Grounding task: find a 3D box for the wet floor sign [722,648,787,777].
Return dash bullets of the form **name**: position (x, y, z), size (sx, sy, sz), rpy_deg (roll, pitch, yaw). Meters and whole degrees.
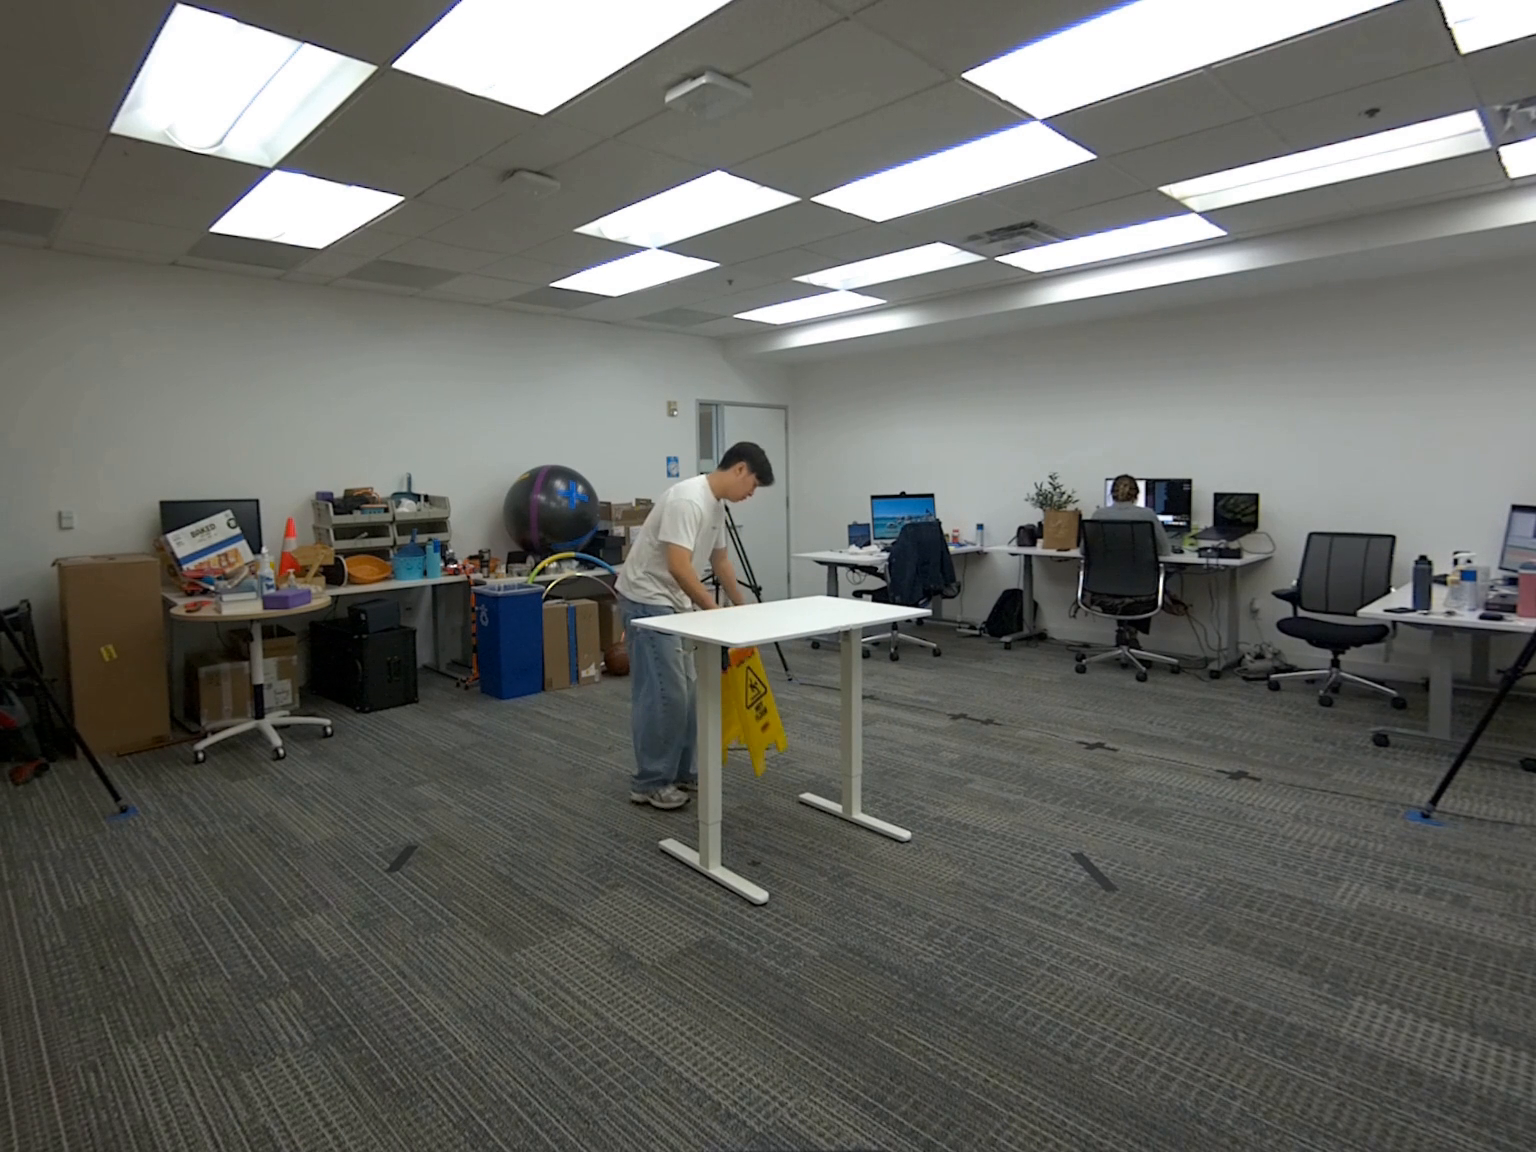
- **wet floor sign**: position (-0.118, 0.474, 3.665), size (0.297, 0.636, 0.279), rpy_deg (2, 17, 29)
